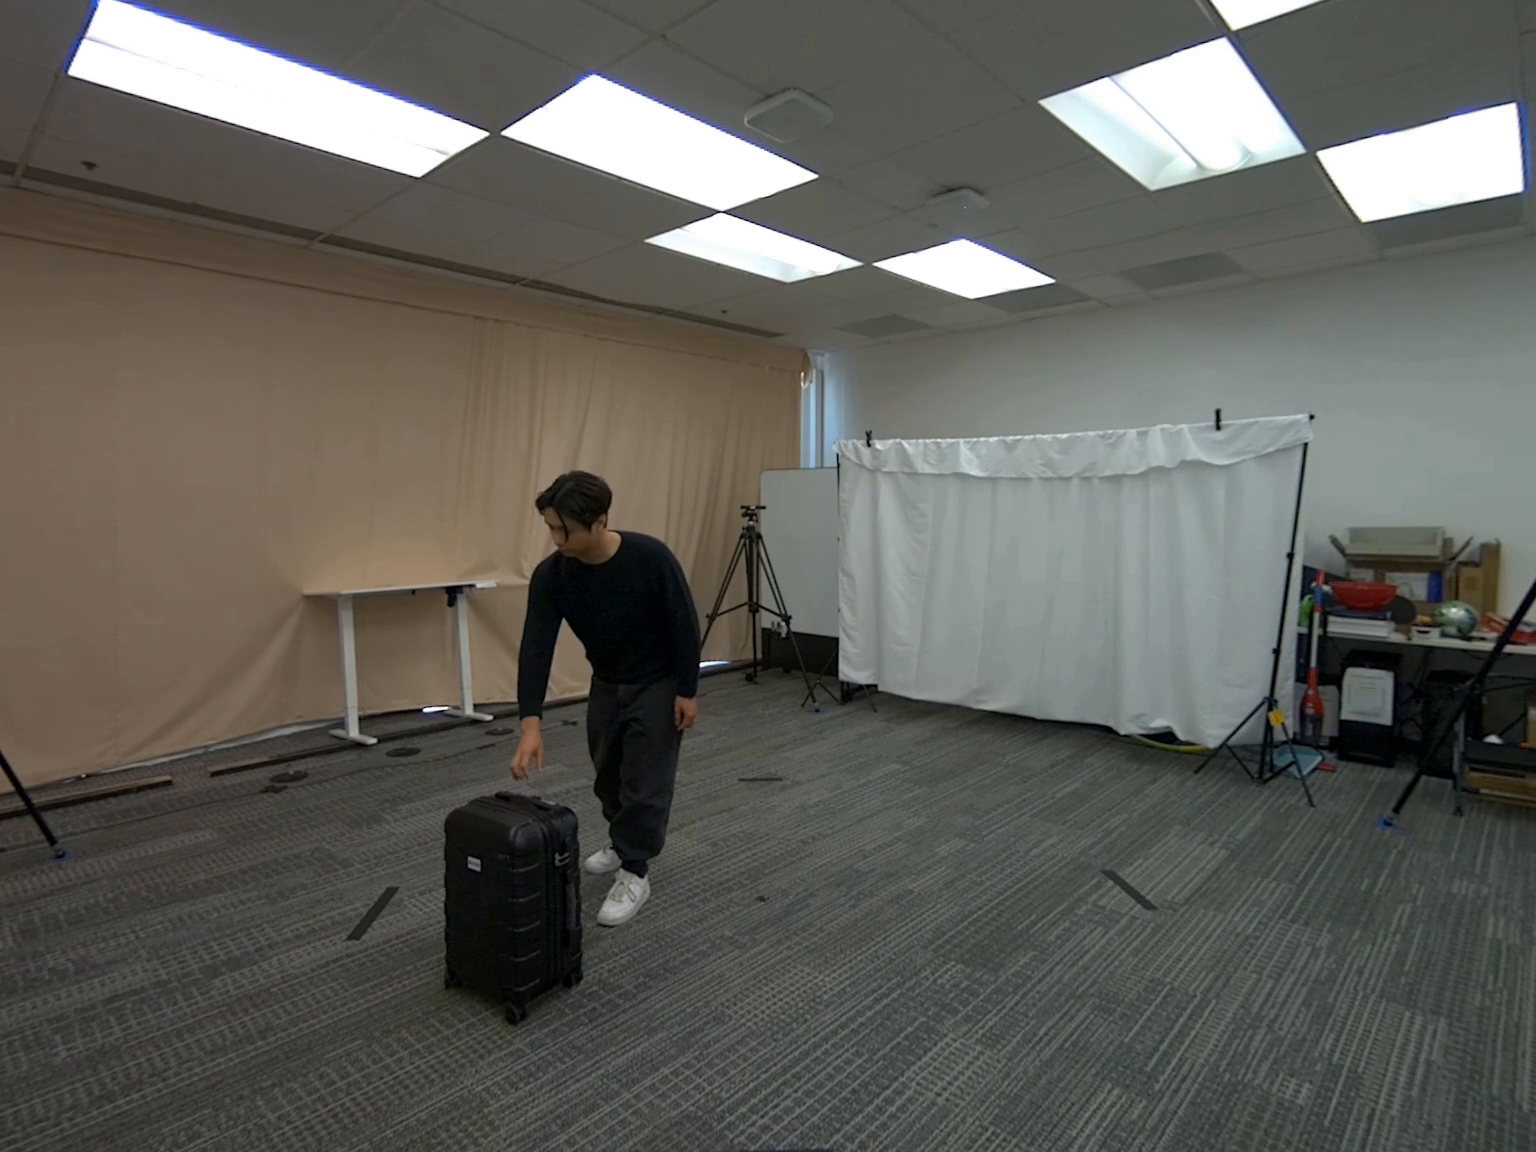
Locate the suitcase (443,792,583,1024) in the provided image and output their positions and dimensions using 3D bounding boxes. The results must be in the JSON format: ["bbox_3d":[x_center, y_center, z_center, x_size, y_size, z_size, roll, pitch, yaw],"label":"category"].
[{"bbox_3d":[-0.734,0.918,2.423,0.387,0.548,0.241,4,5,35],"label":"suitcase"}]
